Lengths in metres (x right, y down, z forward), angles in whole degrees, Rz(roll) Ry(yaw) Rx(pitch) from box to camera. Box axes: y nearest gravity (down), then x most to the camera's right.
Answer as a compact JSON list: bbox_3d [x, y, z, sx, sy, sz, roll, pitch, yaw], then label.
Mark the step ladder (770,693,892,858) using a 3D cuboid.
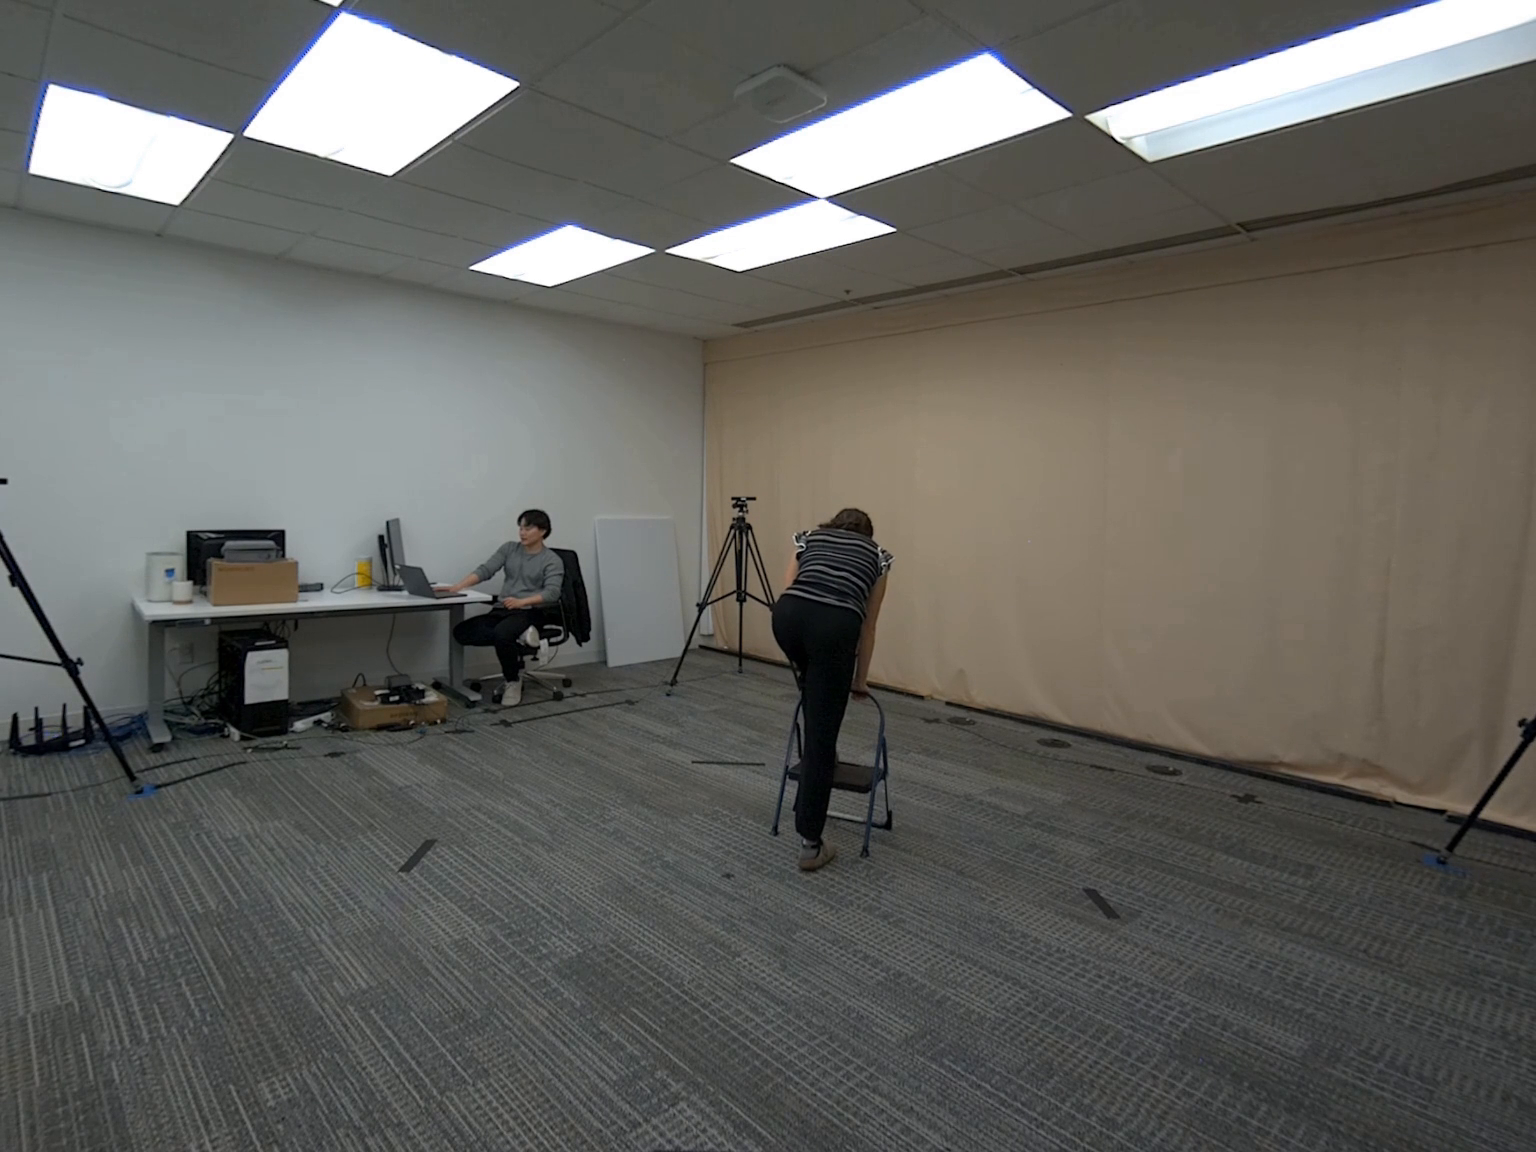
[{"bbox_3d":[0.276,0.778,3.536,0.439,0.605,0.343,3,3,27],"label":"step ladder"}]
